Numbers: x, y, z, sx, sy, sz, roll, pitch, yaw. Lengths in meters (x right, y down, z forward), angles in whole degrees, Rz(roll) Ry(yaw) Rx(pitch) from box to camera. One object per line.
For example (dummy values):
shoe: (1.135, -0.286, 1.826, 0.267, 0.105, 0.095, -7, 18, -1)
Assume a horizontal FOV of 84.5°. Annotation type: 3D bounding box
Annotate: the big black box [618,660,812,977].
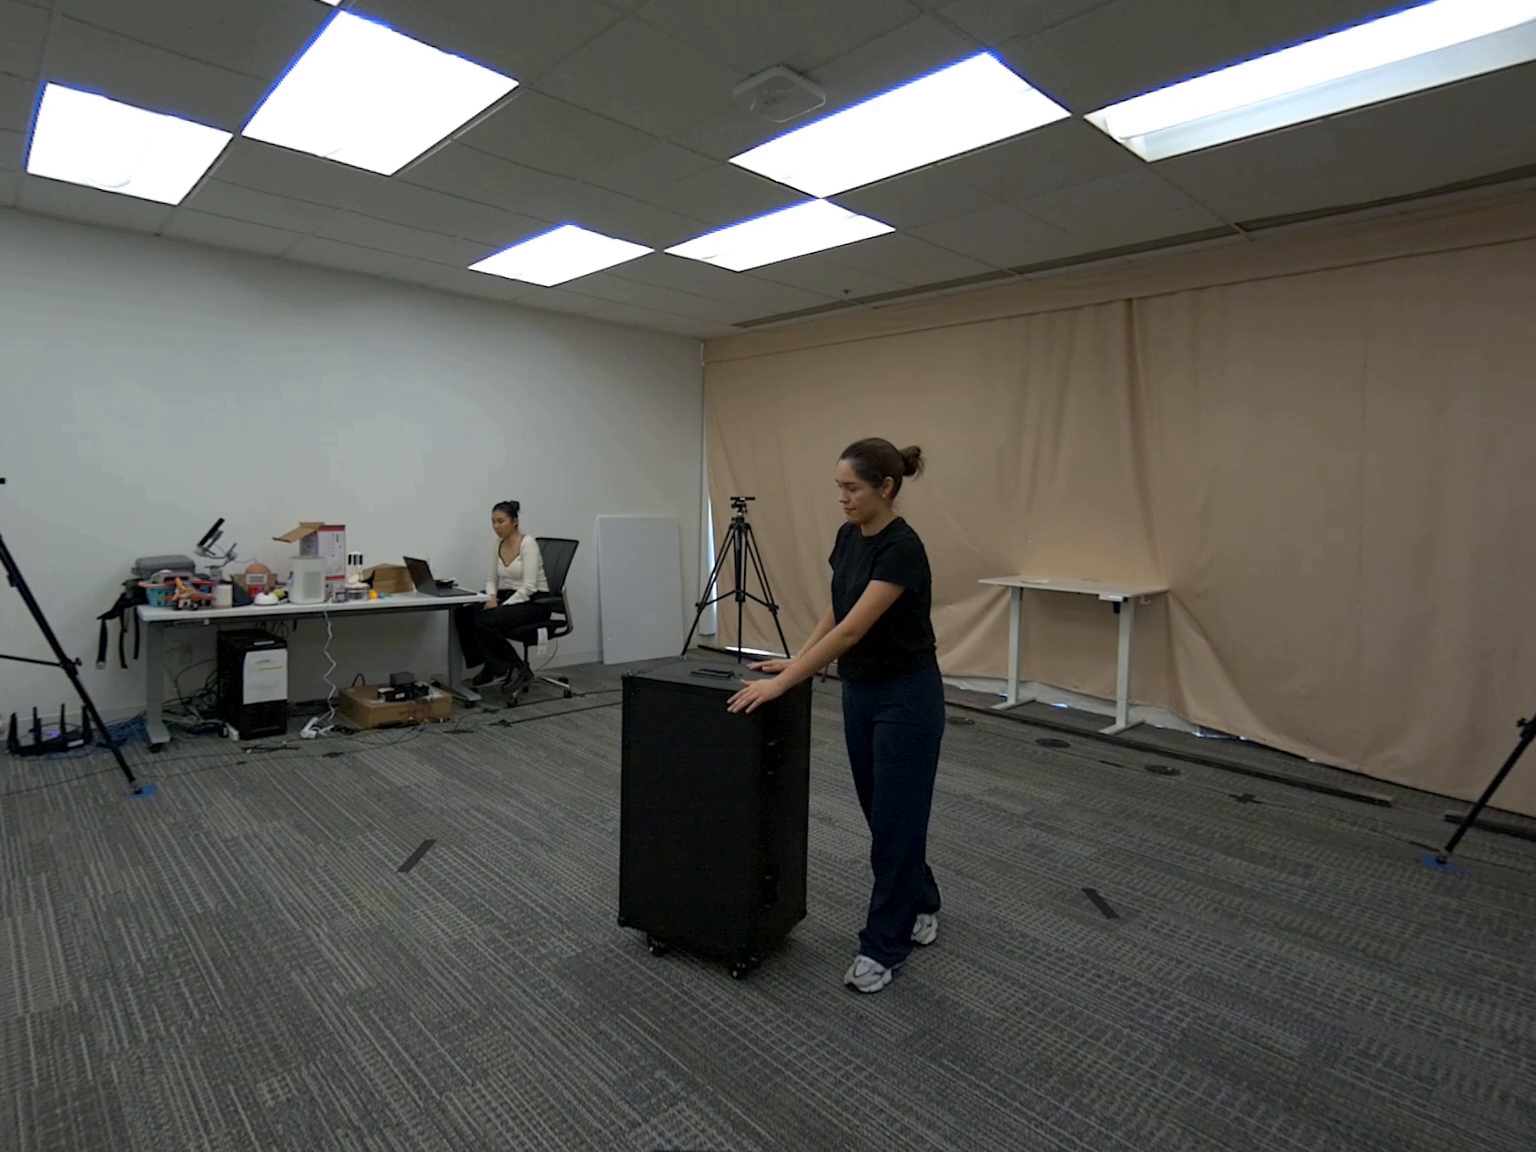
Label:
big black box: (-0.165, 0.729, 2.621, 0.532, 0.860, 0.389, 3, 2, 27)
